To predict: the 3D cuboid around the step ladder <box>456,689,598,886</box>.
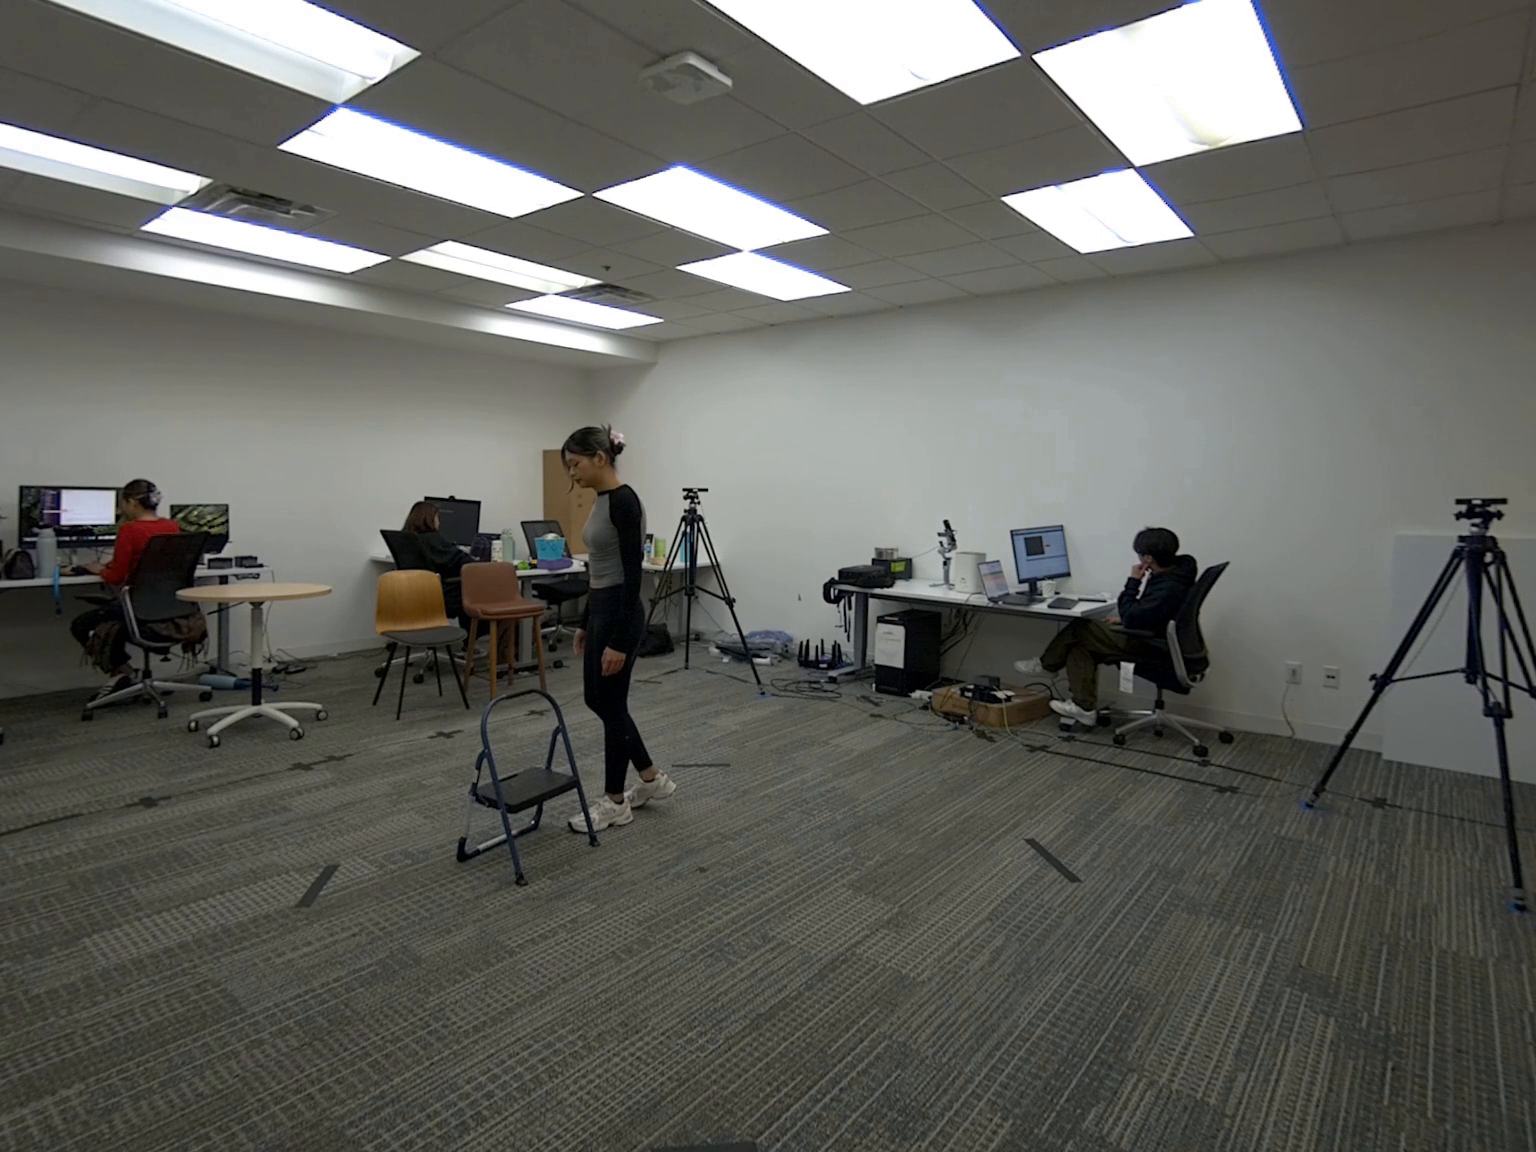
[{"bbox_3d":[-0.908,0.746,3.205,0.359,0.604,0.419,3,4,30],"label":"step ladder"}]
